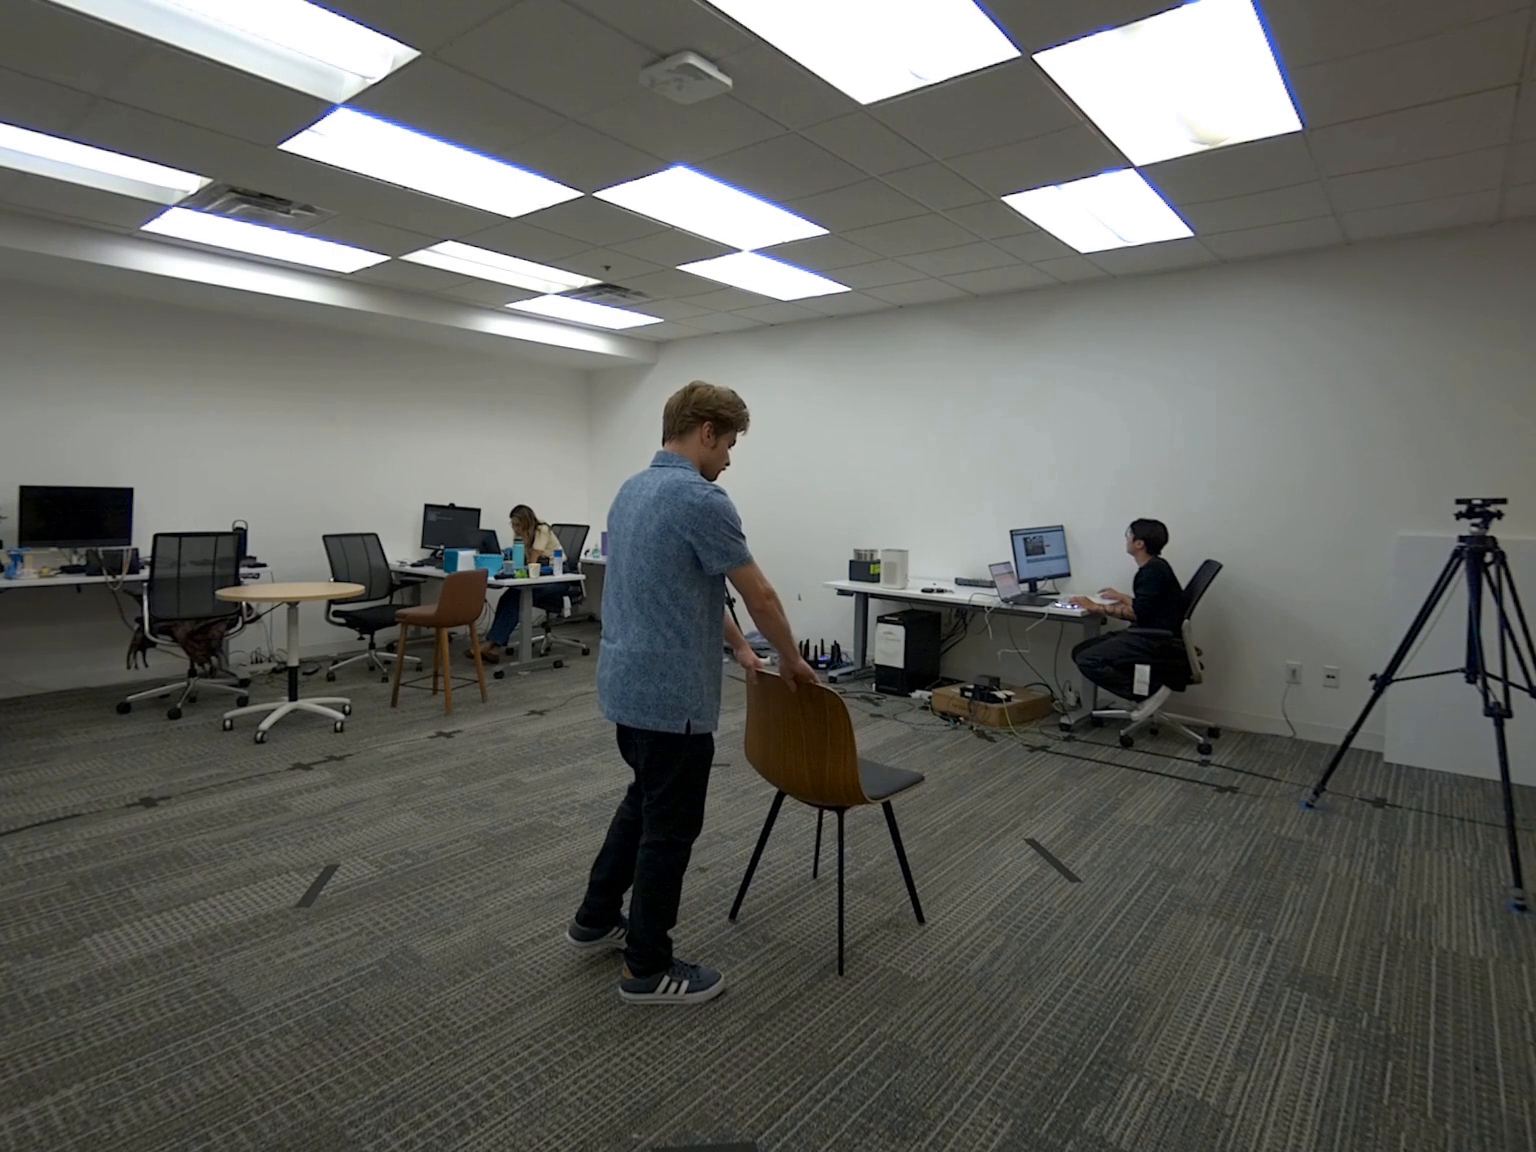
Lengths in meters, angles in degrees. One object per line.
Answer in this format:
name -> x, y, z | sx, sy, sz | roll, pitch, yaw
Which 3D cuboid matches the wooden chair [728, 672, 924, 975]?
wooden chair -> 0.198, 0.686, 2.734 | 0.494, 0.872, 0.509 | 4, 9, 42
